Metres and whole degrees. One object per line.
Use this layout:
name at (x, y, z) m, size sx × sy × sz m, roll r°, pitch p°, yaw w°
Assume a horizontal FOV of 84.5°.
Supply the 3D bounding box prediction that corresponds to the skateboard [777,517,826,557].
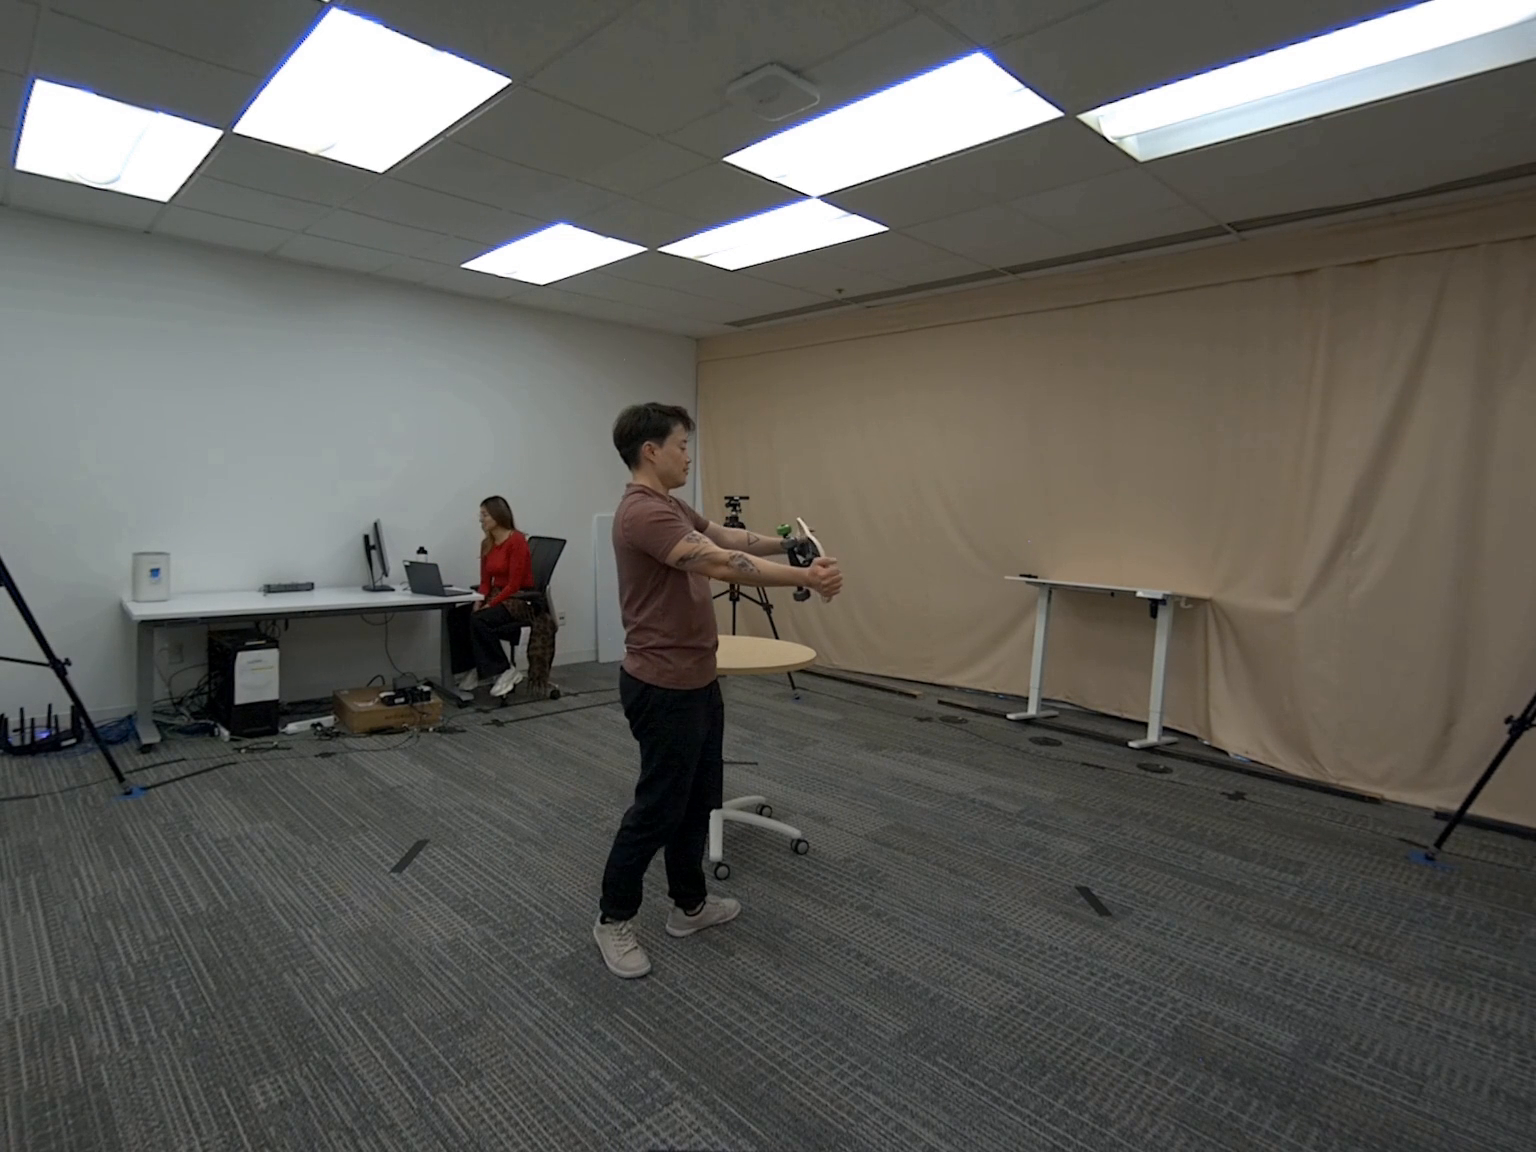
skateboard at (0.092, -0.059, 2.595) m, size 0.110 × 0.192 × 0.791 m, roll -5°, pitch 9°, yaw -2°
